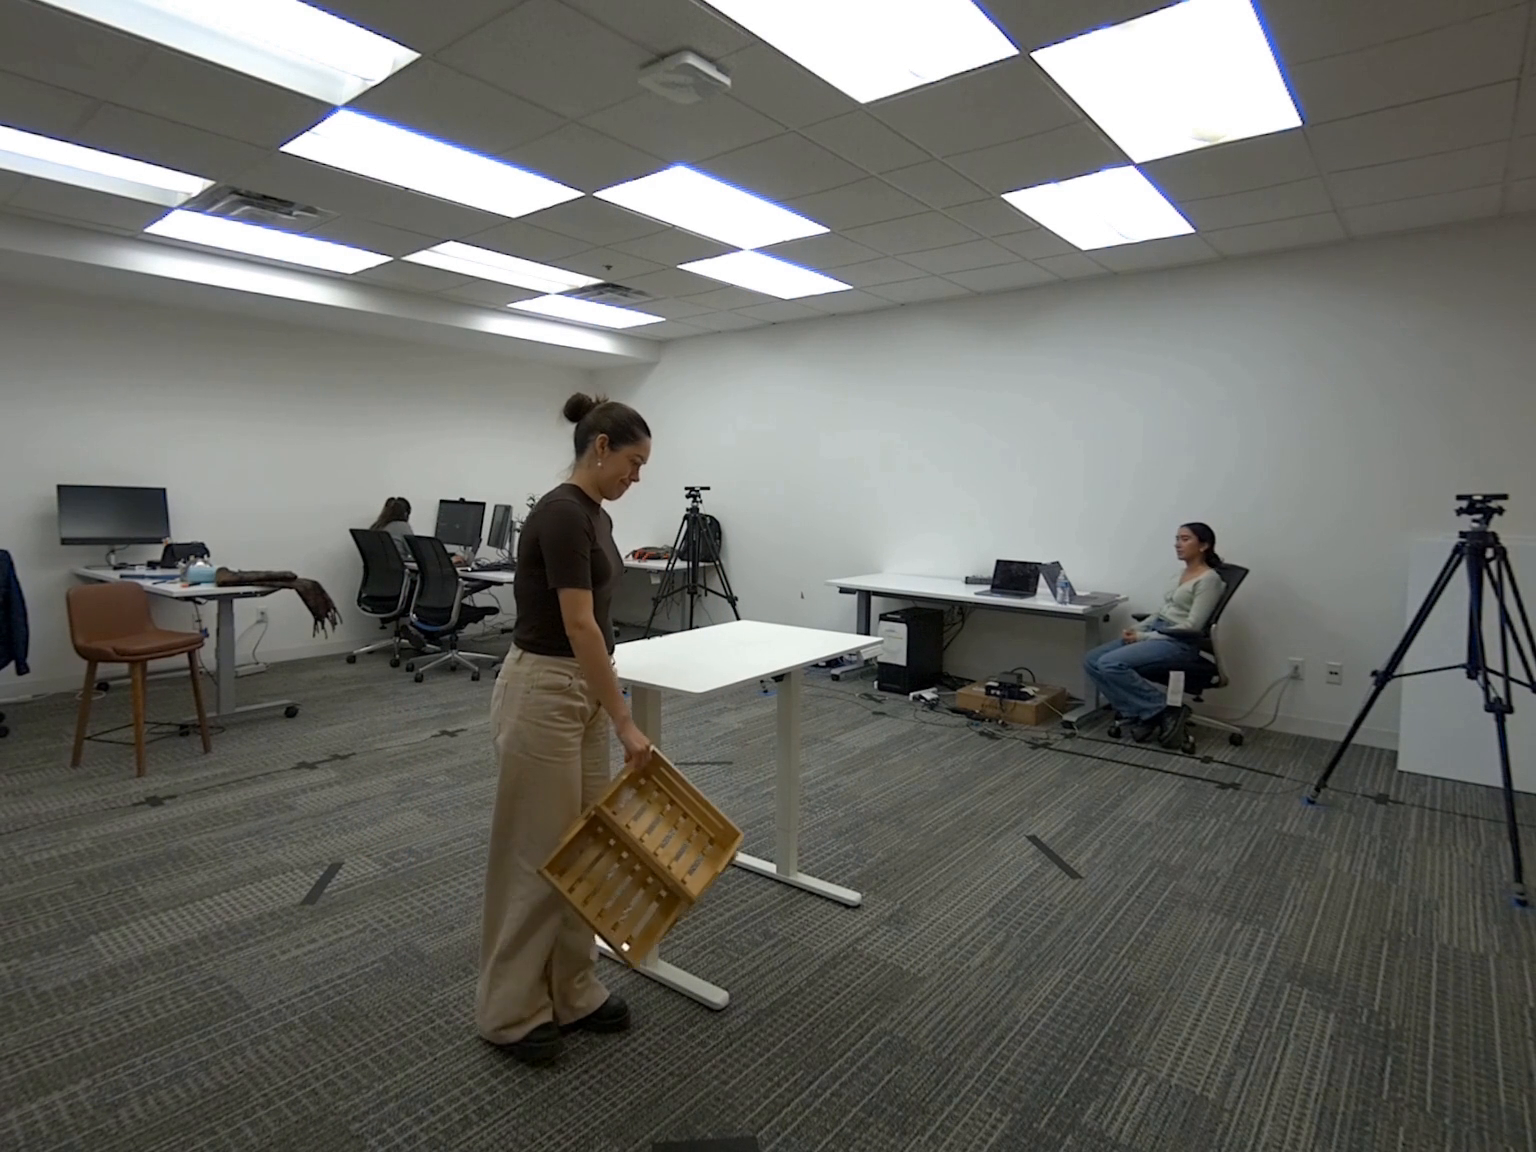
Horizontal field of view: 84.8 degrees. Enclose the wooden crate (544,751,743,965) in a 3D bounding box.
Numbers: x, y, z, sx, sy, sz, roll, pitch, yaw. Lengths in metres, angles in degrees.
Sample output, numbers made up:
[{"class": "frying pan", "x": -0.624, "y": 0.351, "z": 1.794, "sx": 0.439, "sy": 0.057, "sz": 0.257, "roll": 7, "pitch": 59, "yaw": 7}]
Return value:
[{"class": "wooden crate", "x": -0.292, "y": 0.634, "z": 1.939, "sx": 0.328, "sy": 0.272, "sz": 0.300, "roll": 41, "pitch": 28, "yaw": 5}]
